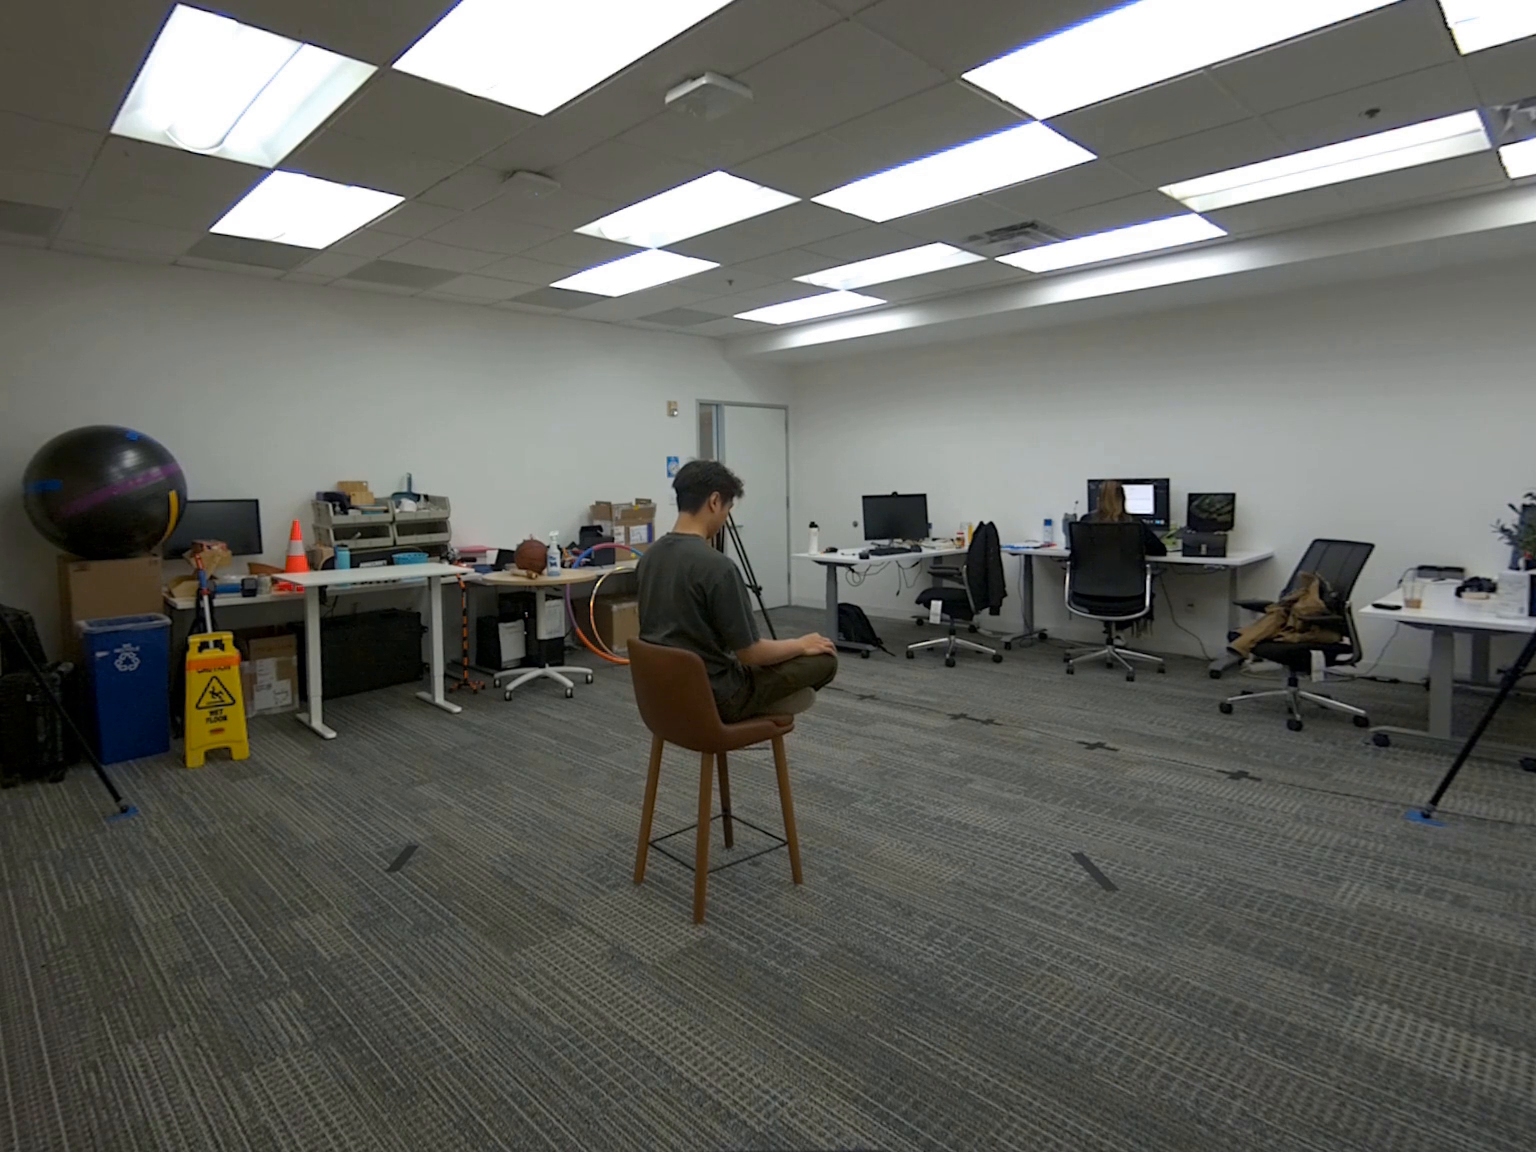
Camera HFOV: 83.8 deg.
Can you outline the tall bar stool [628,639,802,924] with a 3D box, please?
[{"bbox_3d":[-0.194,0.631,2.936,0.456,0.885,0.470,-8,8,-40],"label":"tall bar stool"}]
